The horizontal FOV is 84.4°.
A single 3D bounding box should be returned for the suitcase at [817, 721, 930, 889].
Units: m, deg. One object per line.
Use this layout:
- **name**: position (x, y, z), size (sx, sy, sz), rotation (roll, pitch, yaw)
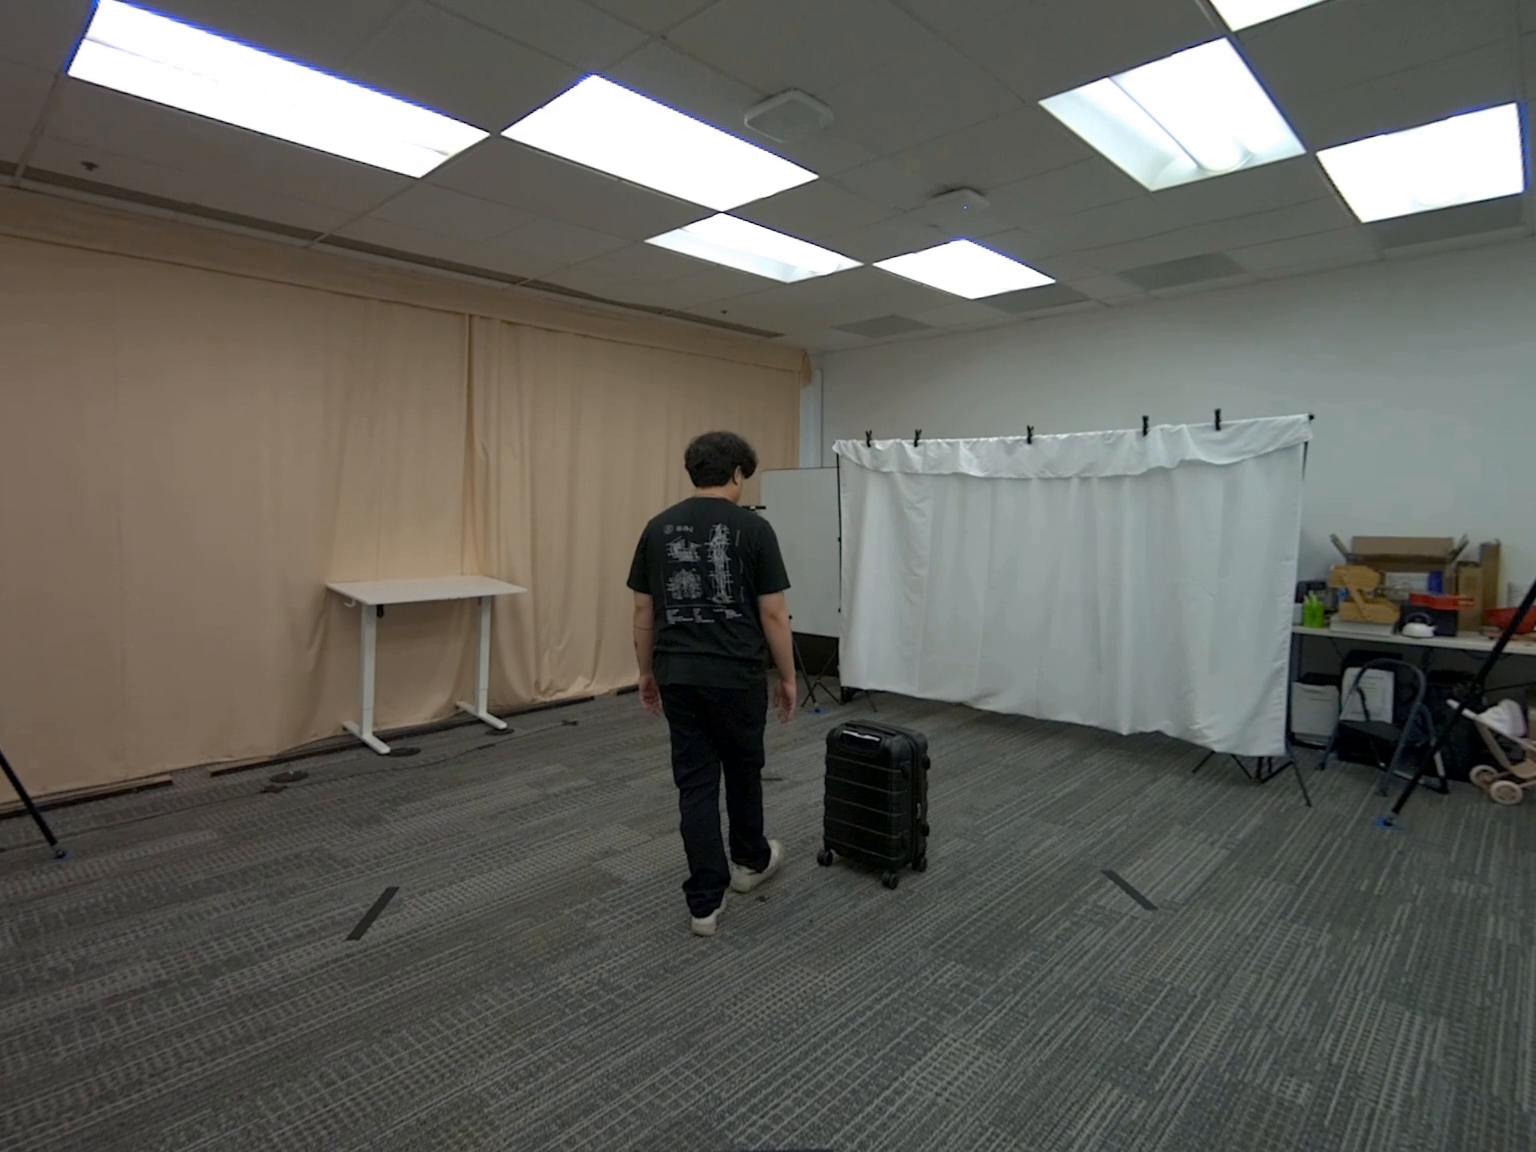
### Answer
- **suitcase**: position (0.416, 0.842, 3.250), size (0.388, 0.549, 0.240), rotation (2, 1, 41)
